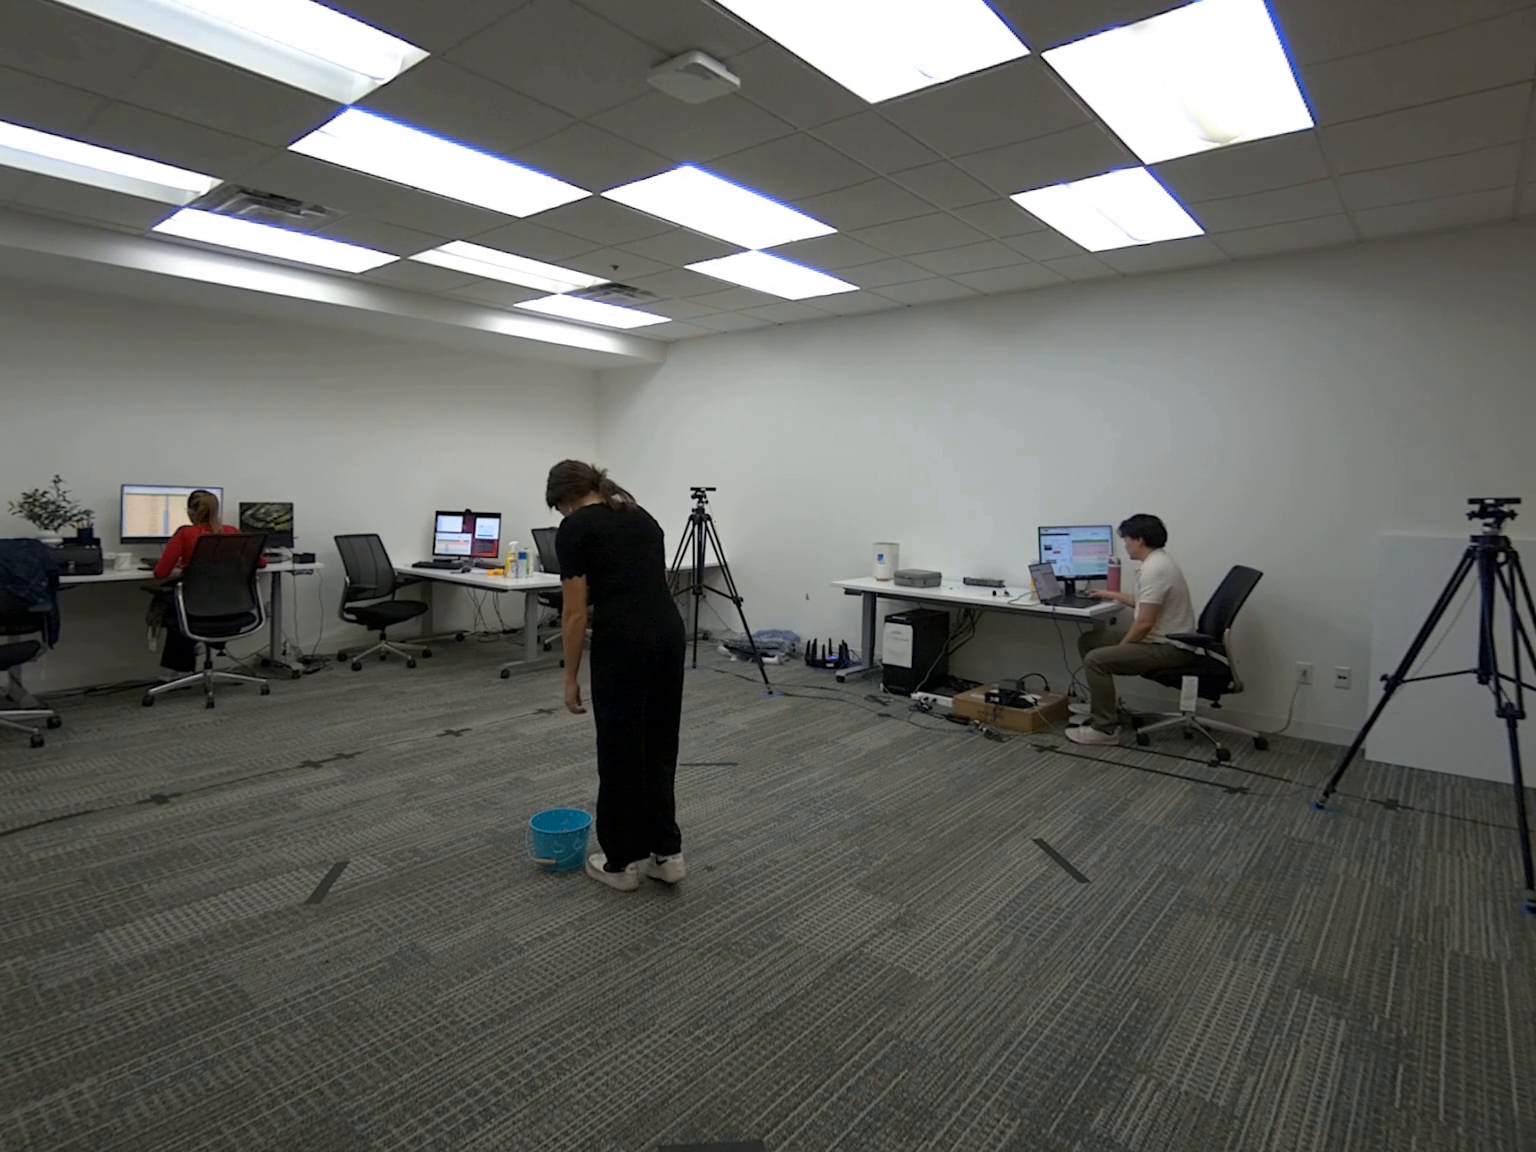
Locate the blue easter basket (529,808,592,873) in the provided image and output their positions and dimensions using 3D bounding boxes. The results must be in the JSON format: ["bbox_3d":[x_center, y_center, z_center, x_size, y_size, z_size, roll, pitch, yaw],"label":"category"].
[{"bbox_3d":[-0.783,0.973,3.149,0.243,0.155,0.245,1,4,-2],"label":"blue easter basket"}]
